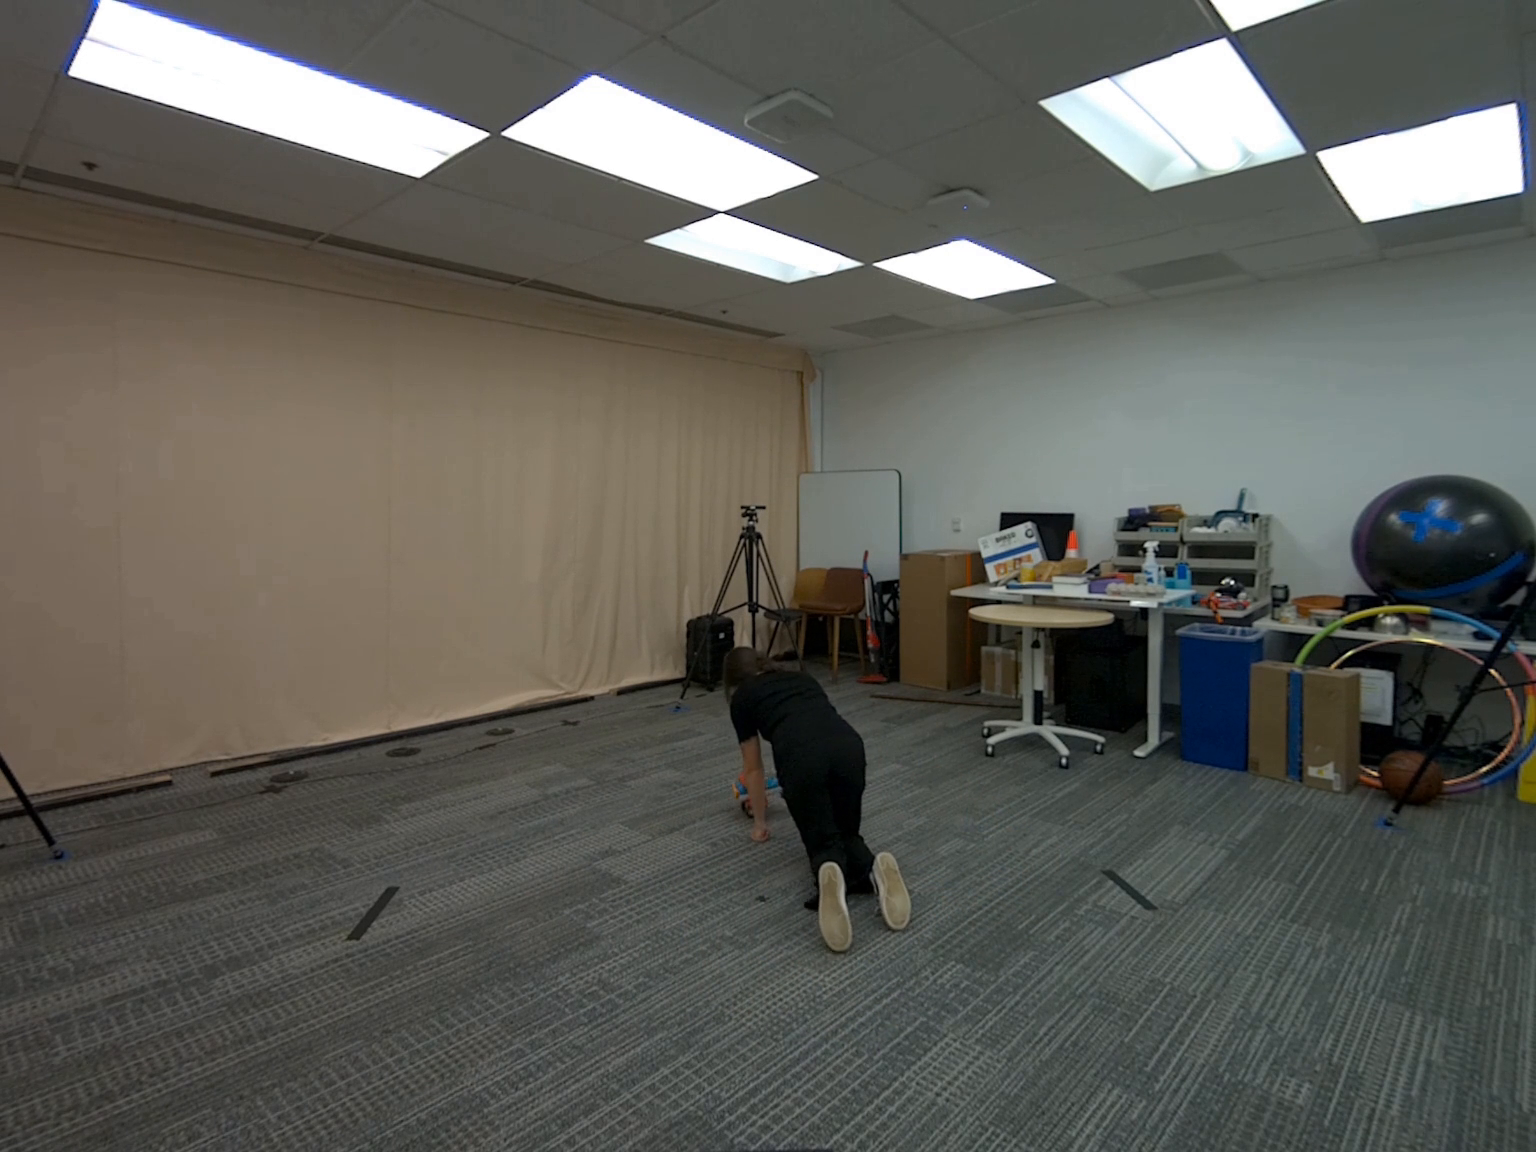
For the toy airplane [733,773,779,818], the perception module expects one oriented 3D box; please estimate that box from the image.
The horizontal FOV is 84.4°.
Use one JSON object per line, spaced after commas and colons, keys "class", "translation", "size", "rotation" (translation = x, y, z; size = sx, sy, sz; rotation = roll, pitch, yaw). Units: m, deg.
{"class": "toy airplane", "translation": [-0.032, 0.976, 3.837], "size": [0.254, 0.155, 0.258], "rotation": [-29, 11, -40]}
